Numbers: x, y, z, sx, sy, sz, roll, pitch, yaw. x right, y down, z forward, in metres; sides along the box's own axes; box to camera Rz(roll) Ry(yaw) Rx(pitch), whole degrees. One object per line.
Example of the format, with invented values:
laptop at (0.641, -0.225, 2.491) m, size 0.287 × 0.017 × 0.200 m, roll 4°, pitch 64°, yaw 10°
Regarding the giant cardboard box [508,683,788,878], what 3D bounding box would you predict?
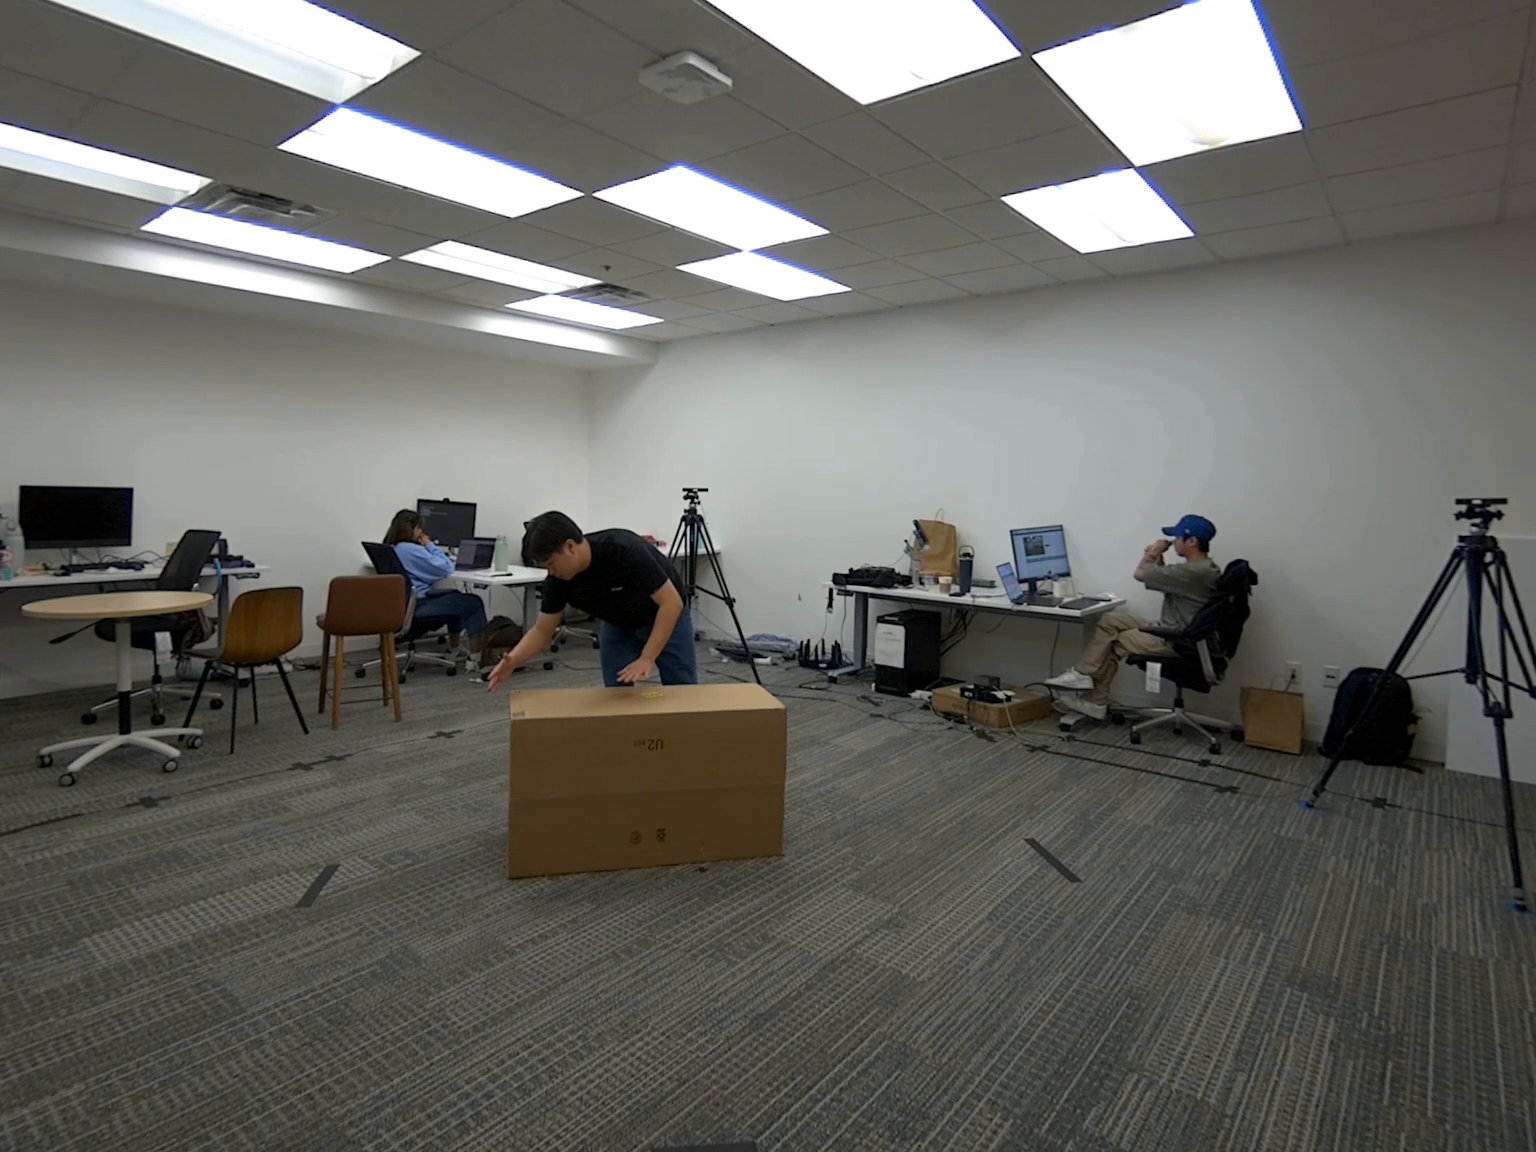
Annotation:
giant cardboard box at (-0.491, 0.758, 3.305) m, size 1.011 × 0.583 × 0.455 m, roll 0°, pitch 3°, yaw -15°
